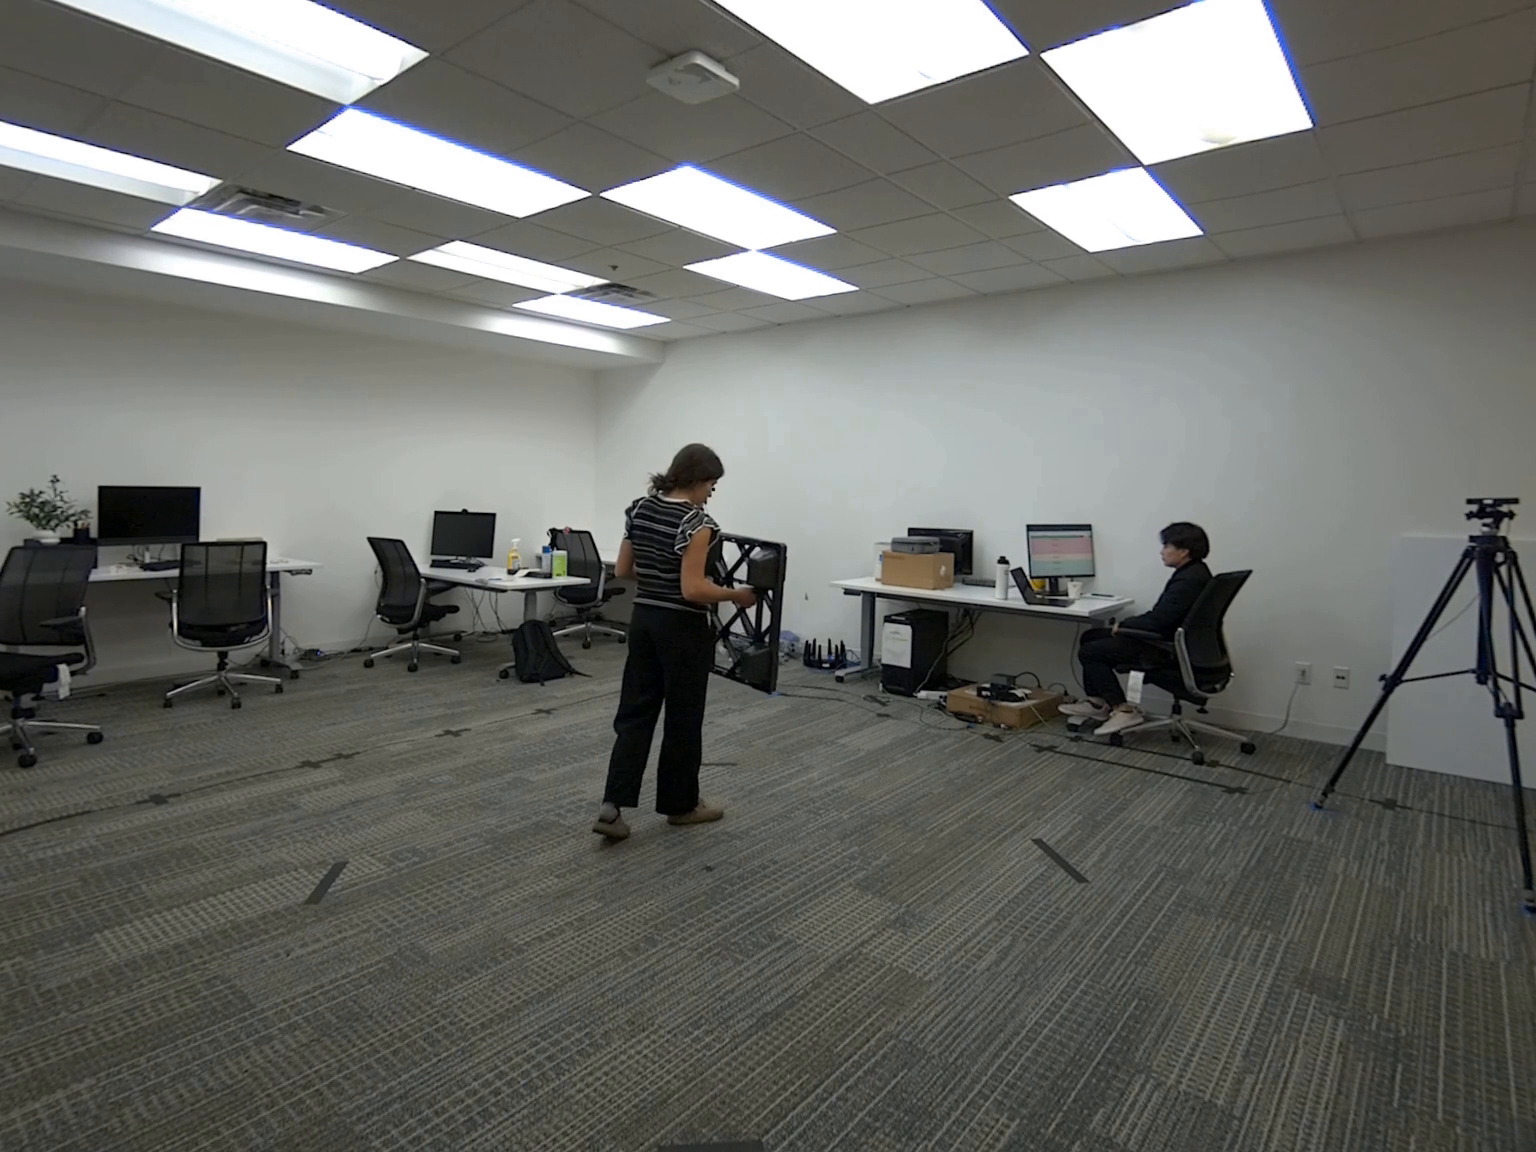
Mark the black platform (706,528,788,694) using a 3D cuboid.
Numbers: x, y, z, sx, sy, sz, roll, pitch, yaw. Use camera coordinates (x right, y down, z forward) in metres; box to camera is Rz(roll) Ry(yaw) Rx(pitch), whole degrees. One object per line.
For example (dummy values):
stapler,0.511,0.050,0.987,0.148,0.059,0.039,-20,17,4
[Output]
black platform,-0.296,0.106,3.565,0.835,0.601,0.139,12,10,42
